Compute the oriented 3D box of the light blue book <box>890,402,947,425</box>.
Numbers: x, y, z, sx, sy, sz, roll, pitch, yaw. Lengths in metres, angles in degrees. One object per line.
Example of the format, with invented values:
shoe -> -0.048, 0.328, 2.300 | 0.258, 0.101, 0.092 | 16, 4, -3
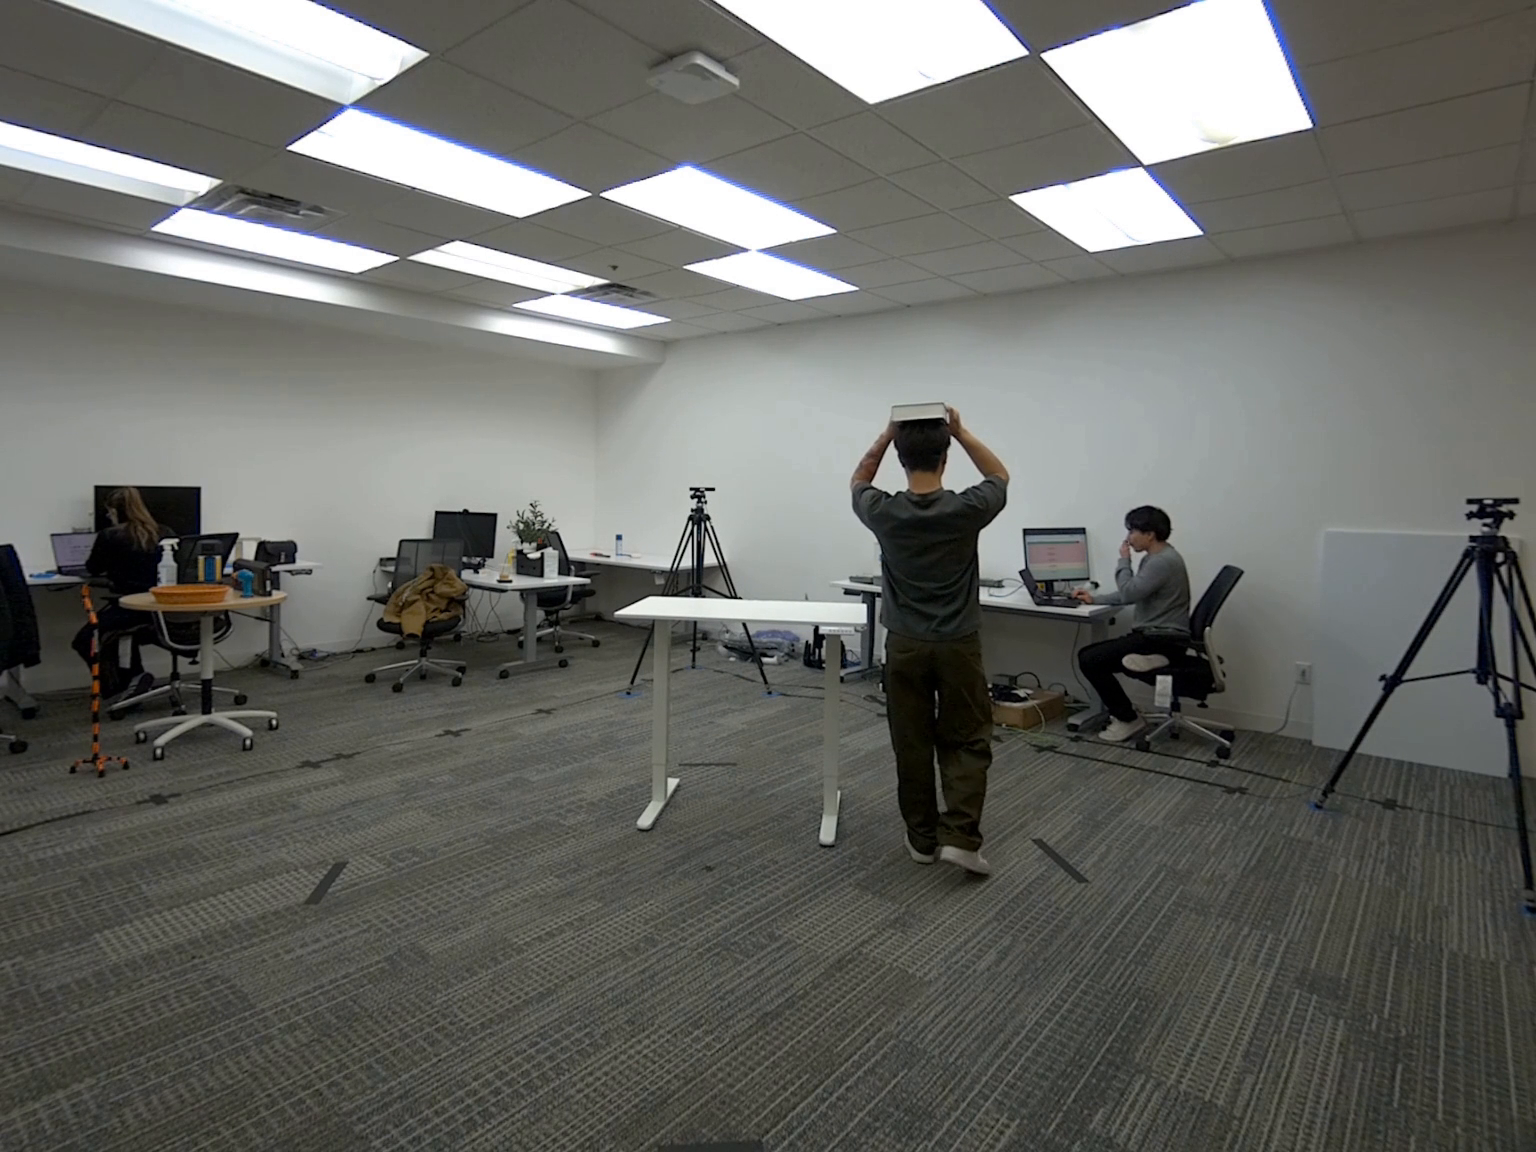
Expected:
light blue book -> 0.579, -0.605, 3.203 | 0.195, 0.059, 0.256 | 0, 3, 17
